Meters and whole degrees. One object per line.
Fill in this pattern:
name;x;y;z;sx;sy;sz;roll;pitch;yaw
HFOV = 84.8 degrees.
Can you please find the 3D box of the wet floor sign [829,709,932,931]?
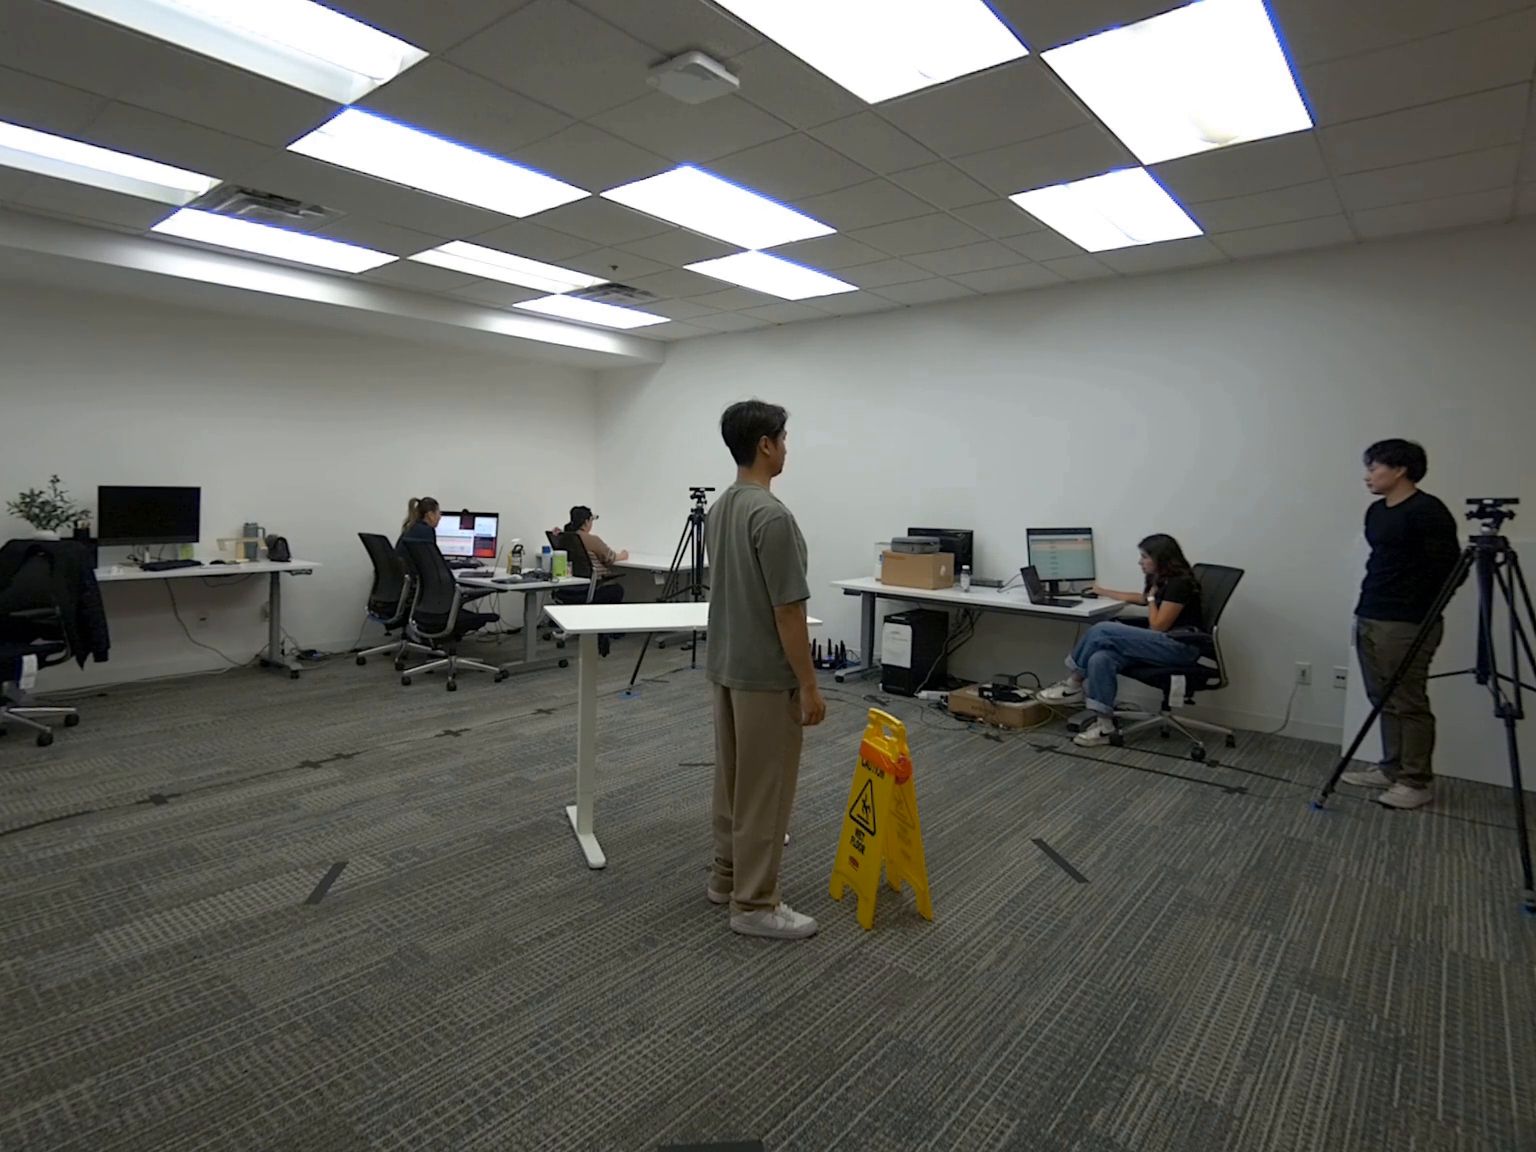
wet floor sign;0.377;0.780;2.839;0.284;0.644;0.289;2;4;-20
